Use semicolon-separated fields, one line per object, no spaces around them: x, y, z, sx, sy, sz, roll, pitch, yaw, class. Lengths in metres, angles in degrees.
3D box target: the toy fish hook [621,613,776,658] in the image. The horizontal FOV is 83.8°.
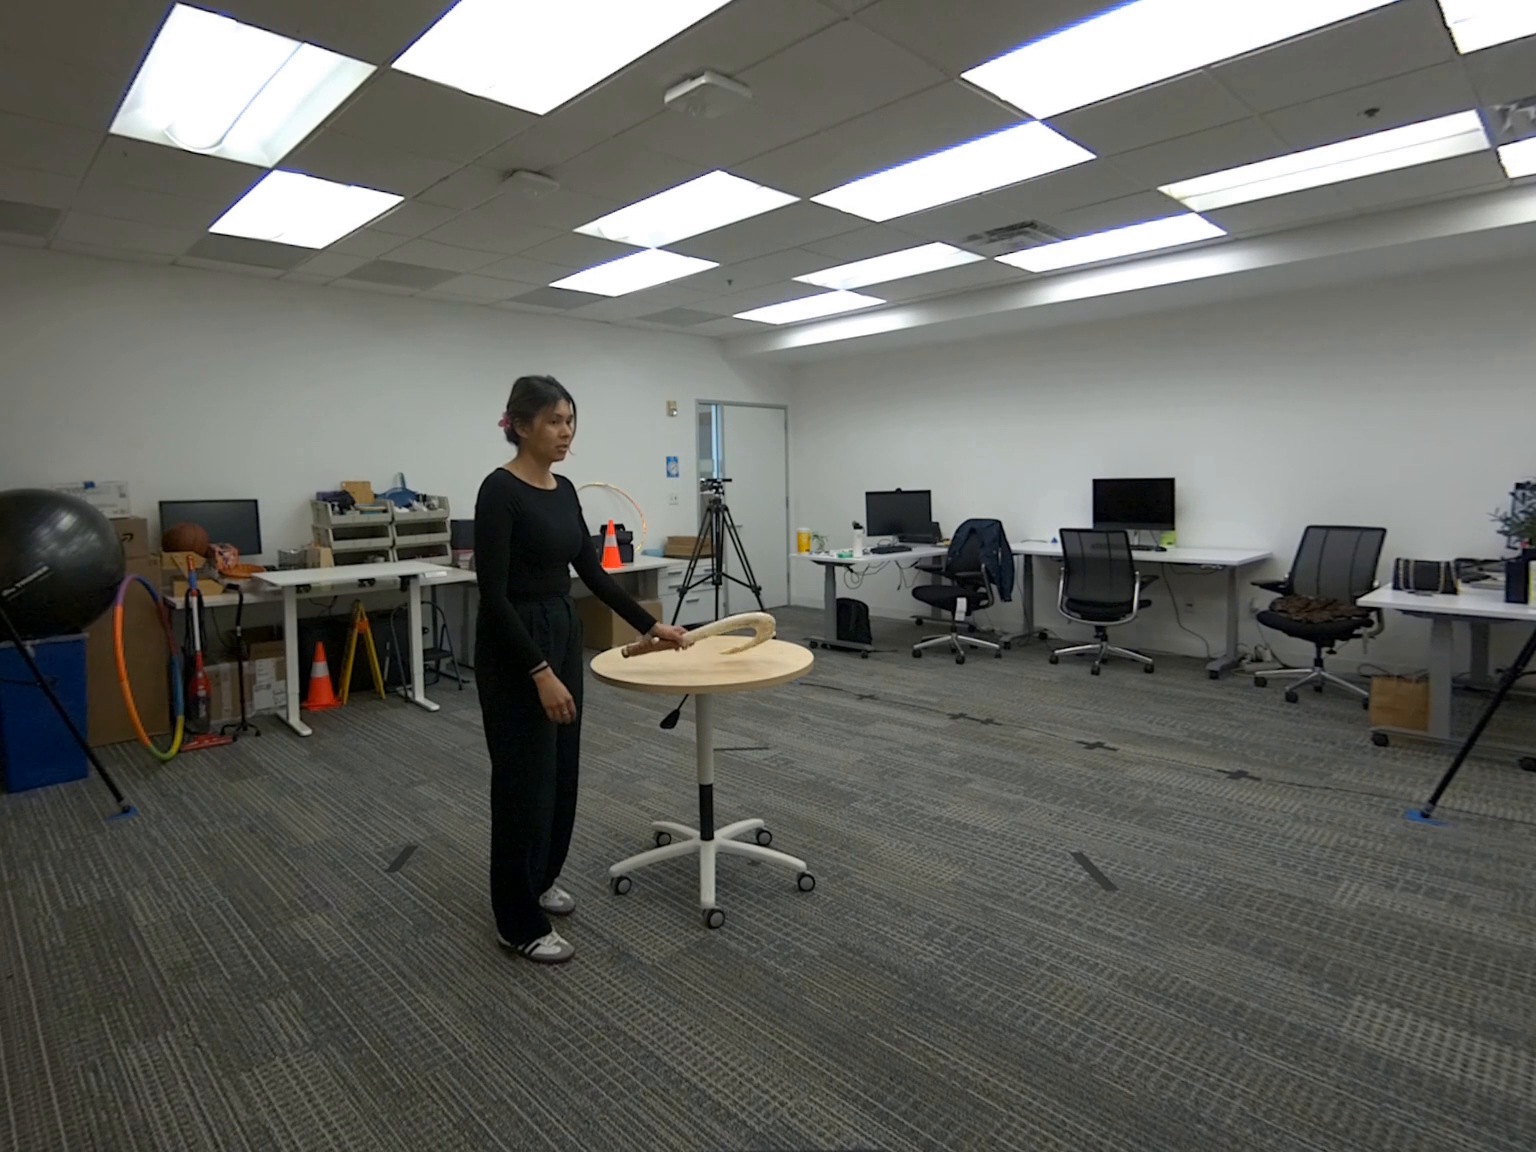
-0.228;0.225;2.764;0.504;0.050;0.218;-12;-38;-6;toy fish hook
